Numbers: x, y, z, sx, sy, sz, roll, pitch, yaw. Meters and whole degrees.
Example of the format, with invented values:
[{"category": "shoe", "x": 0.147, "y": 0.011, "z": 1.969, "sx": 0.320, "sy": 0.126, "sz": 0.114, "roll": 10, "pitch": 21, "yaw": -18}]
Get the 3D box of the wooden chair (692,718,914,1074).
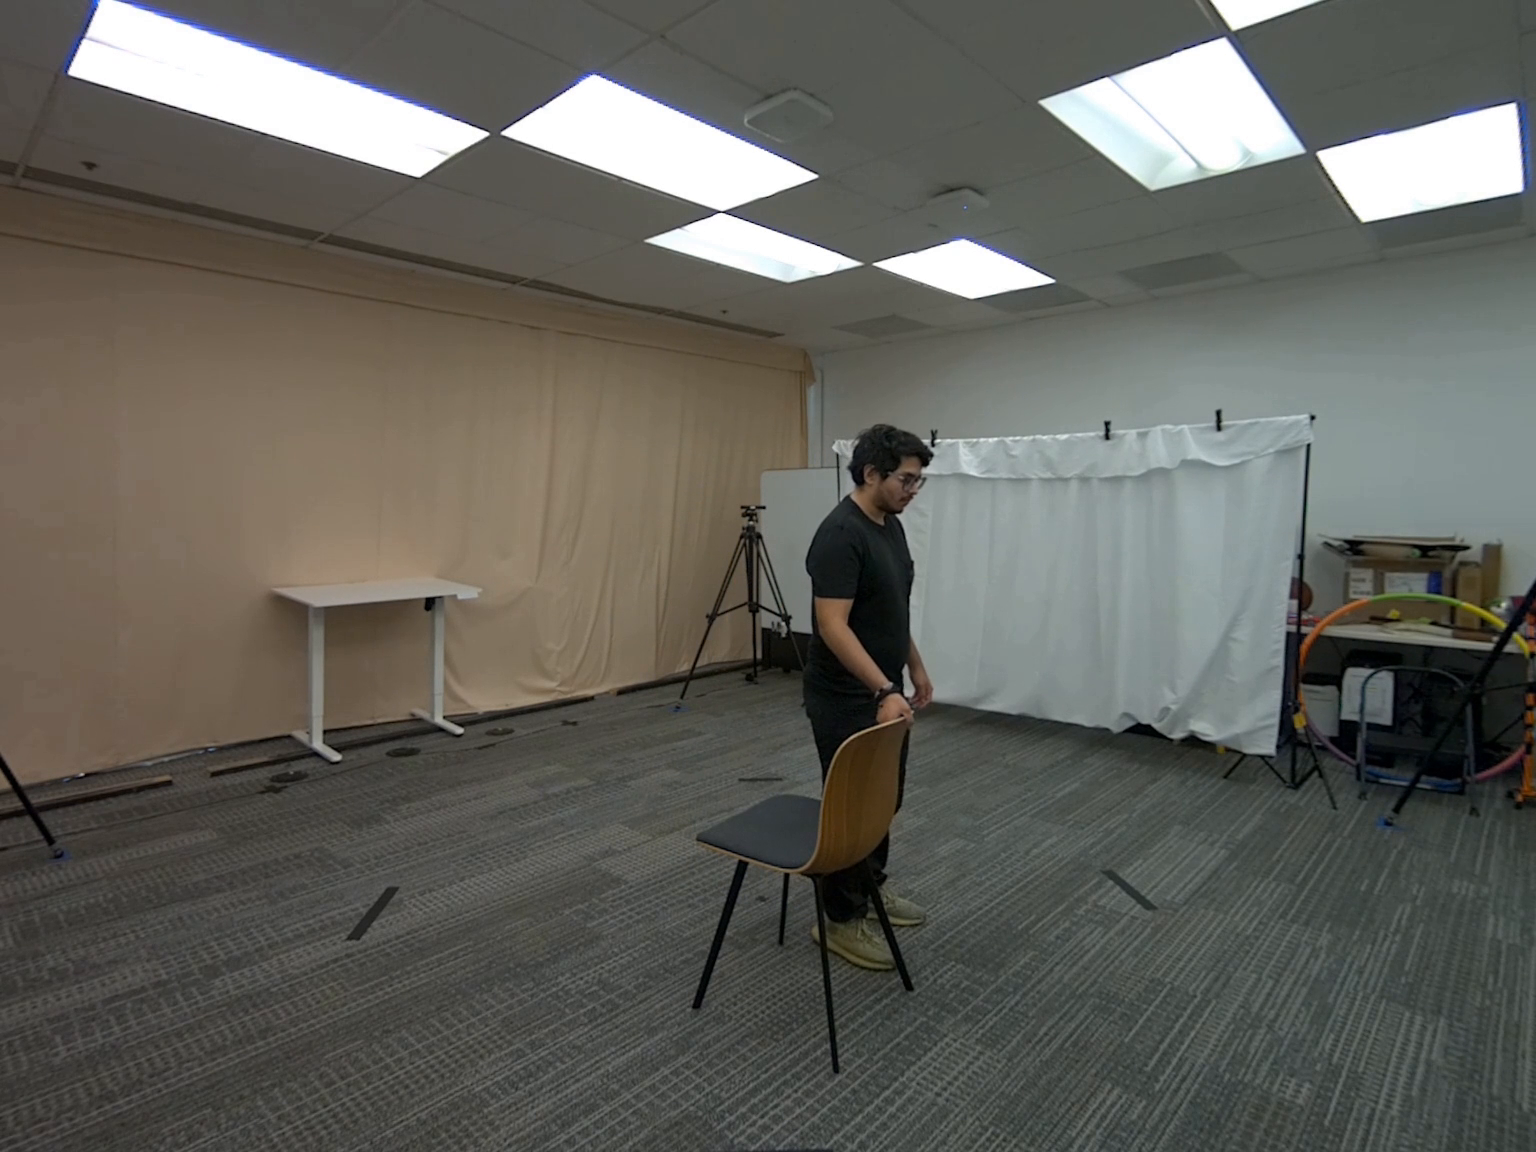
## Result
[{"category": "wooden chair", "x": 0.095, "y": 0.771, "z": 2.345, "sx": 0.540, "sy": 0.874, "sz": 0.464, "roll": 8, "pitch": 7, "yaw": 35}]
